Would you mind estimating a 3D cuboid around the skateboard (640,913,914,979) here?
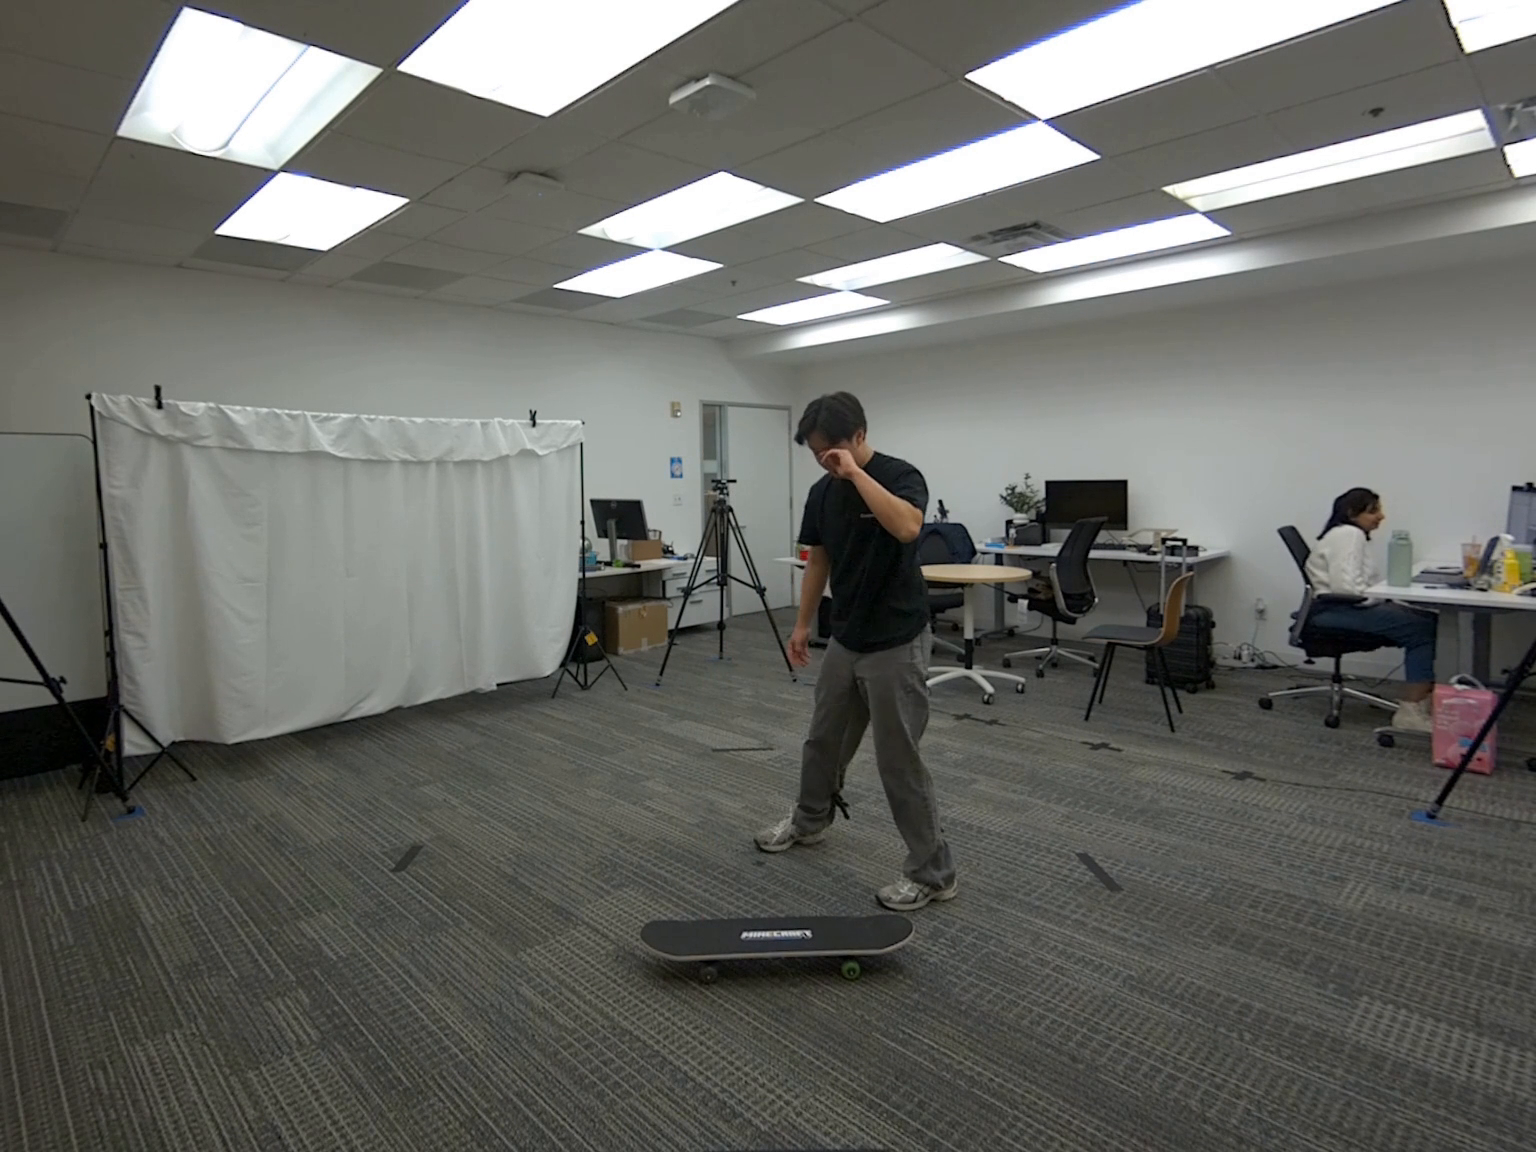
[{"bbox_3d":[0.027,1.059,2.458,0.786,0.110,0.194,-1,6,1],"label":"skateboard"}]
